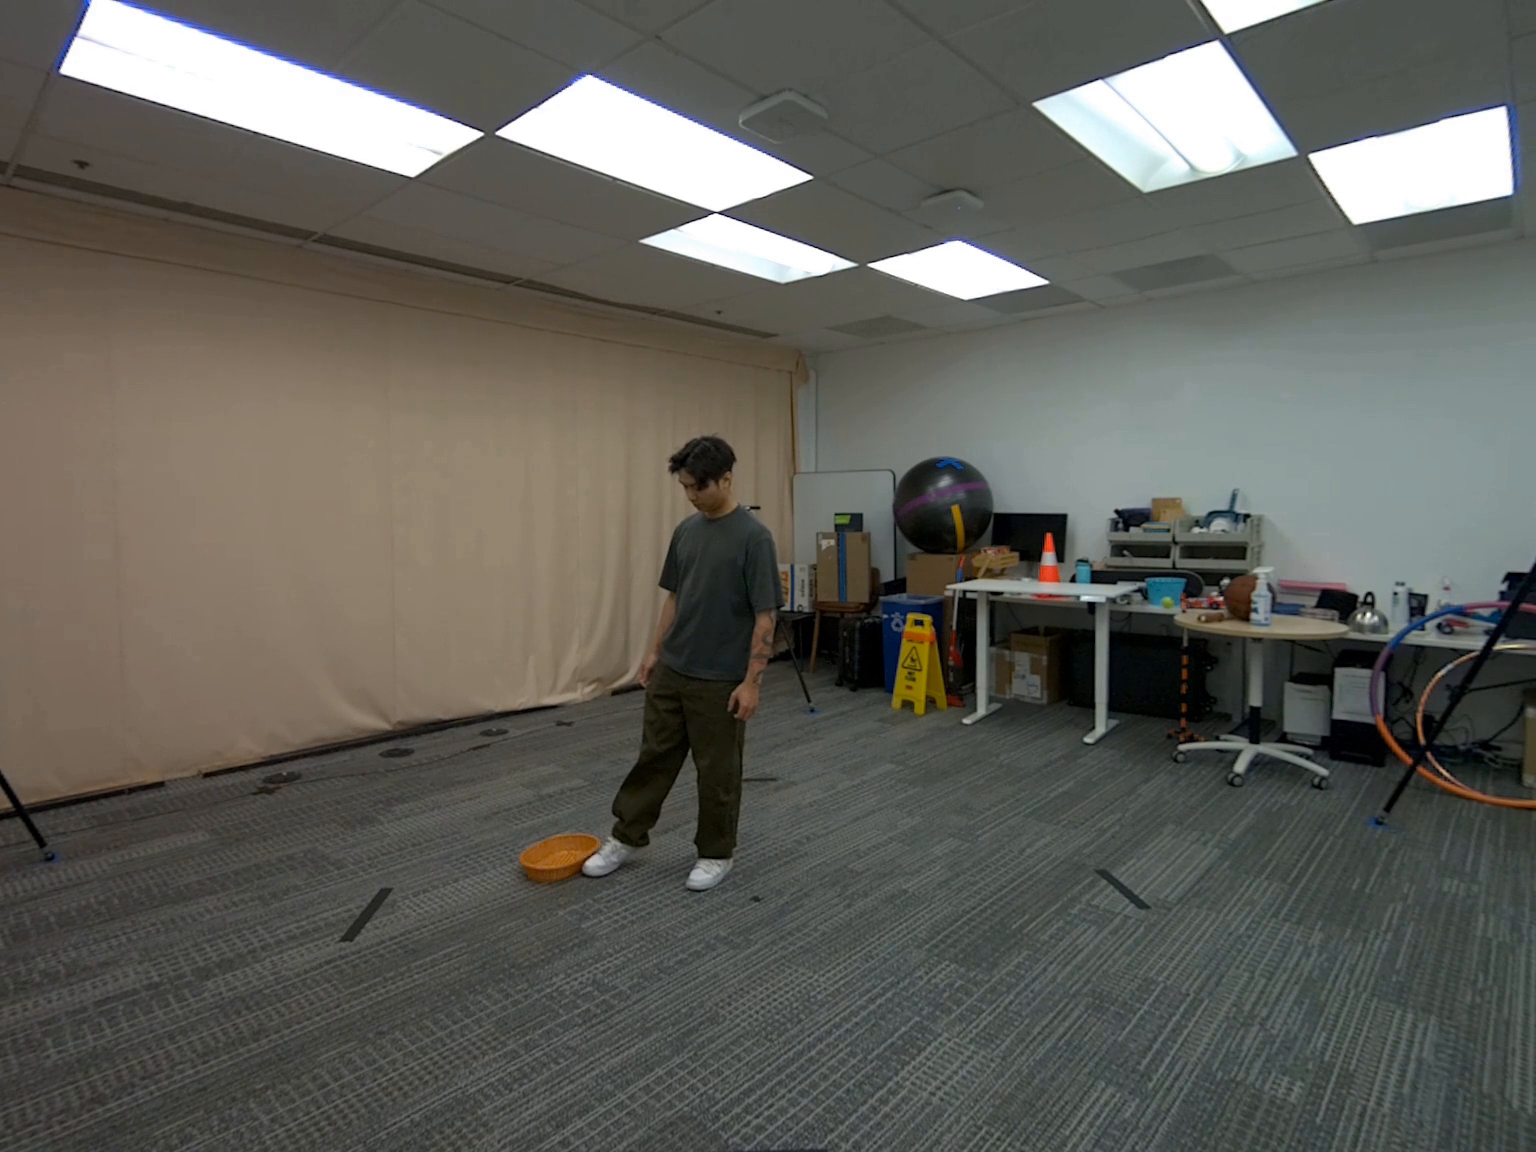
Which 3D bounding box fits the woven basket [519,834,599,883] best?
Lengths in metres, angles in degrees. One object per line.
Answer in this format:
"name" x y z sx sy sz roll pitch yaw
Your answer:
"woven basket" -0.805 1.094 3.258 0.260 0.073 0.341 1 5 30
